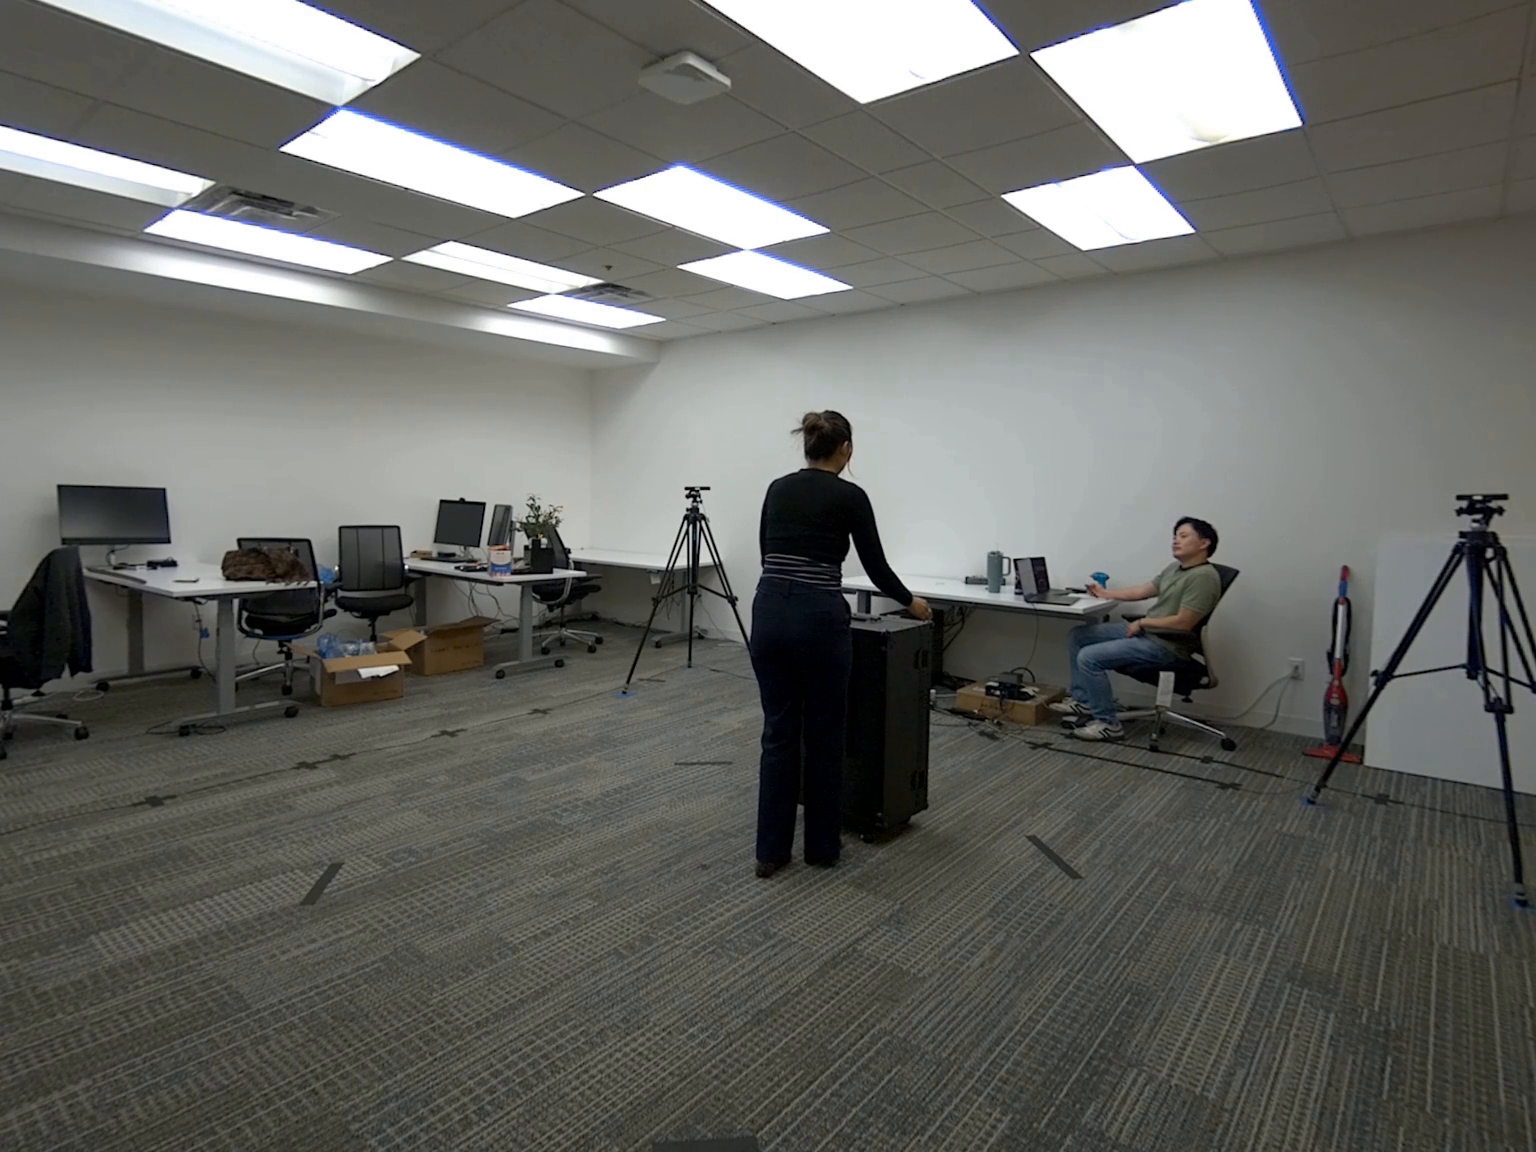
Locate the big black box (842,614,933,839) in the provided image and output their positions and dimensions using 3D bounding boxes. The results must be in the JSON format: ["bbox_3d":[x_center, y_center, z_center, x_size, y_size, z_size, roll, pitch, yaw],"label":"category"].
[{"bbox_3d":[0.366,0.605,3.553,0.539,0.858,0.384,4,5,42],"label":"big black box"}]
